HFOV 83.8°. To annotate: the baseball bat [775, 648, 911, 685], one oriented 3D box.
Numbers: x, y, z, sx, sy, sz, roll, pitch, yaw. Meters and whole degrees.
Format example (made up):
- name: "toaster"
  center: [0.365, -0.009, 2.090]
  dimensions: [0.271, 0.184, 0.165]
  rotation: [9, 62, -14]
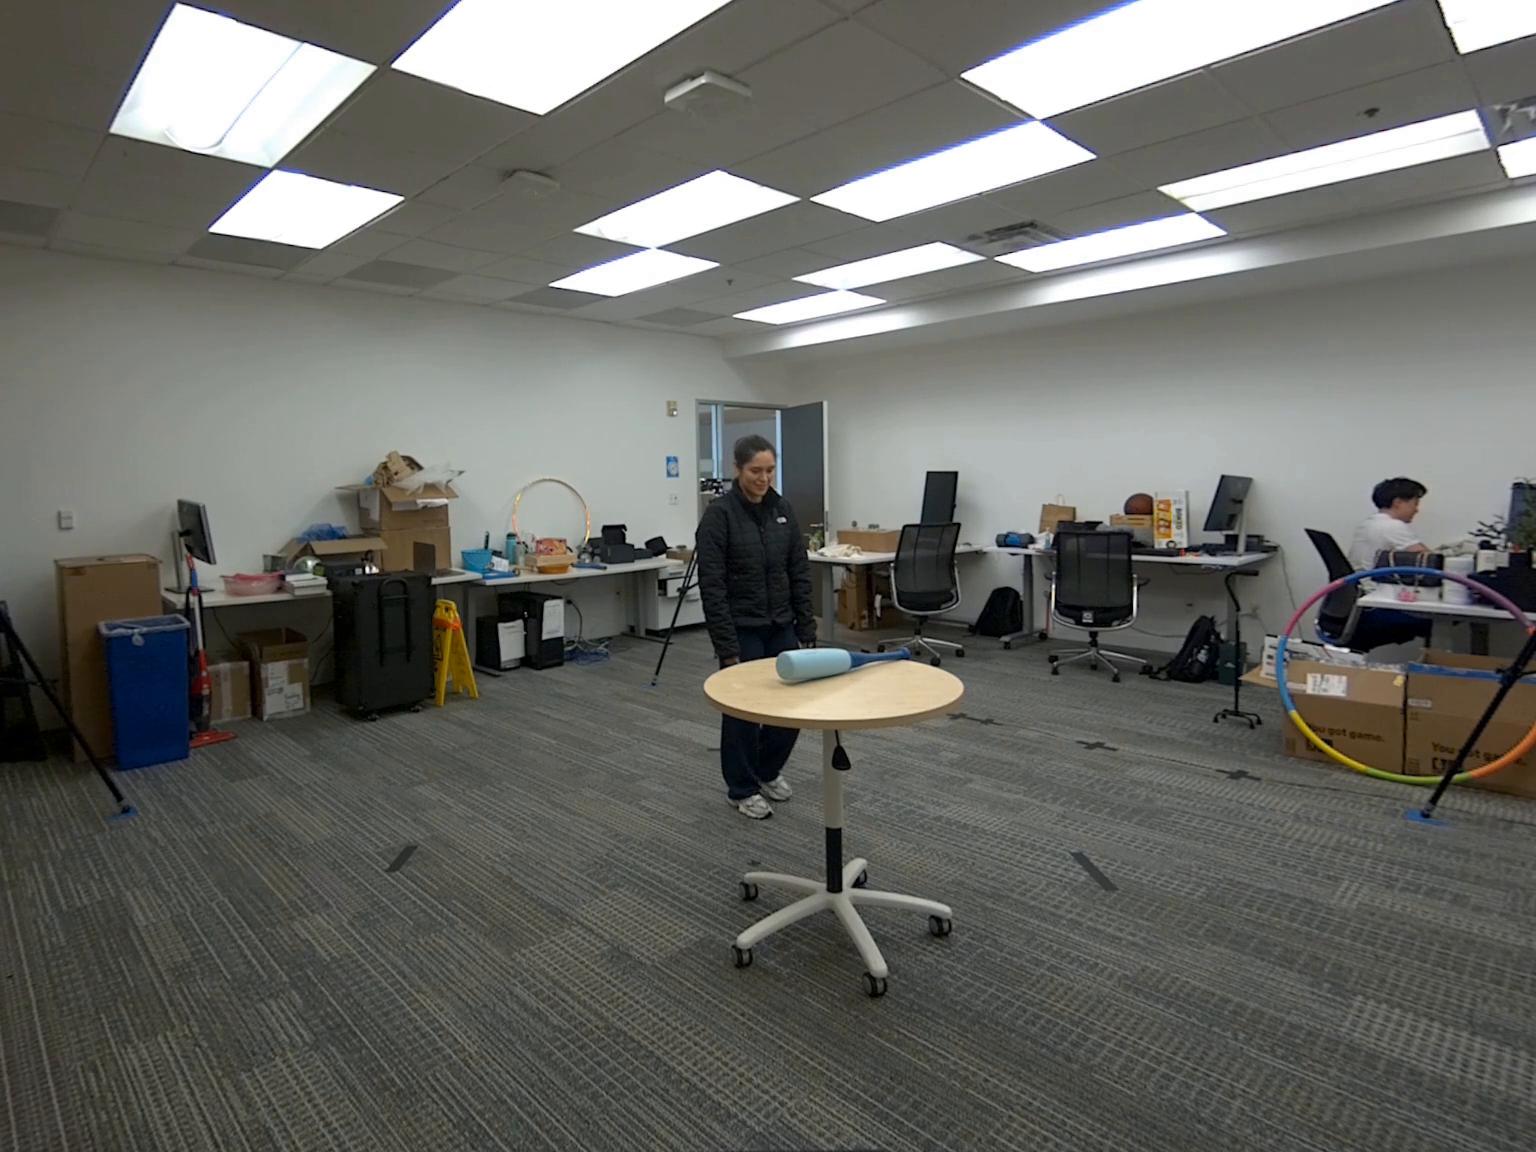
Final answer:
- name: "baseball bat"
  center: [0.240, 0.268, 2.716]
  dimensions: [0.528, 0.089, 0.092]
  rotation: [-1, 4, -38]
